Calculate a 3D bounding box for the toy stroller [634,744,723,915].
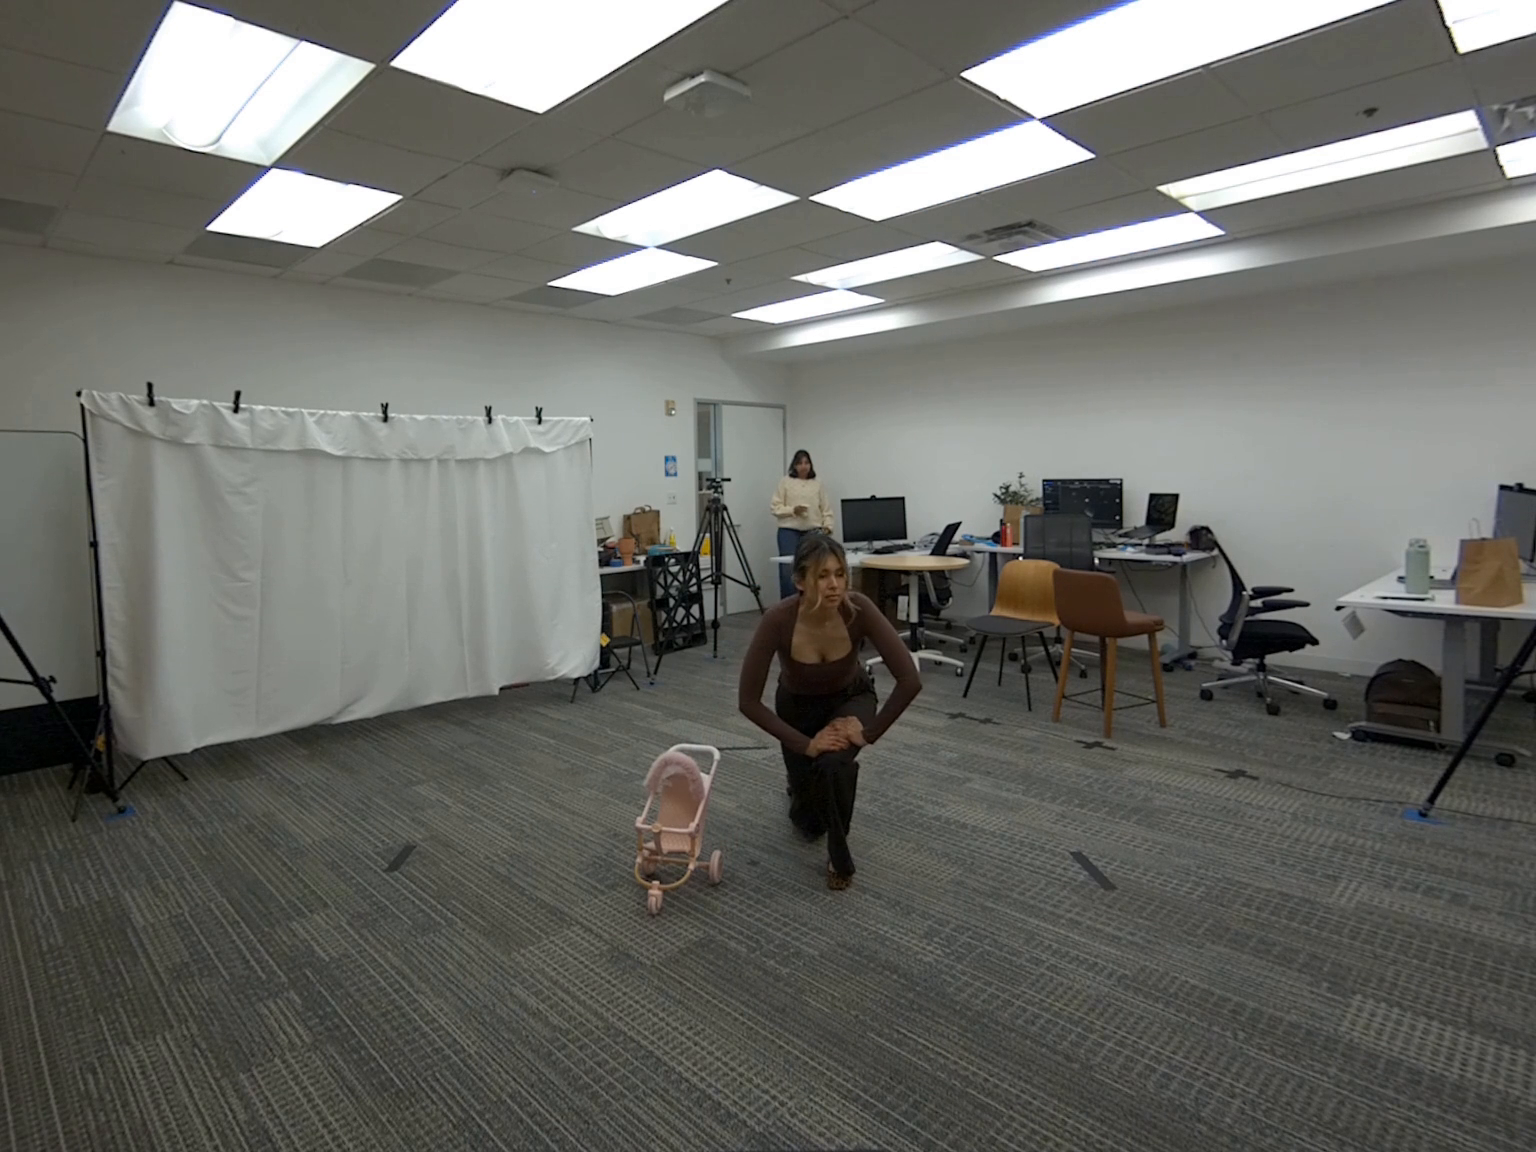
[{"bbox_3d":[-0.315,0.845,2.925,0.287,0.540,0.331,0,-13,20],"label":"toy stroller"}]
